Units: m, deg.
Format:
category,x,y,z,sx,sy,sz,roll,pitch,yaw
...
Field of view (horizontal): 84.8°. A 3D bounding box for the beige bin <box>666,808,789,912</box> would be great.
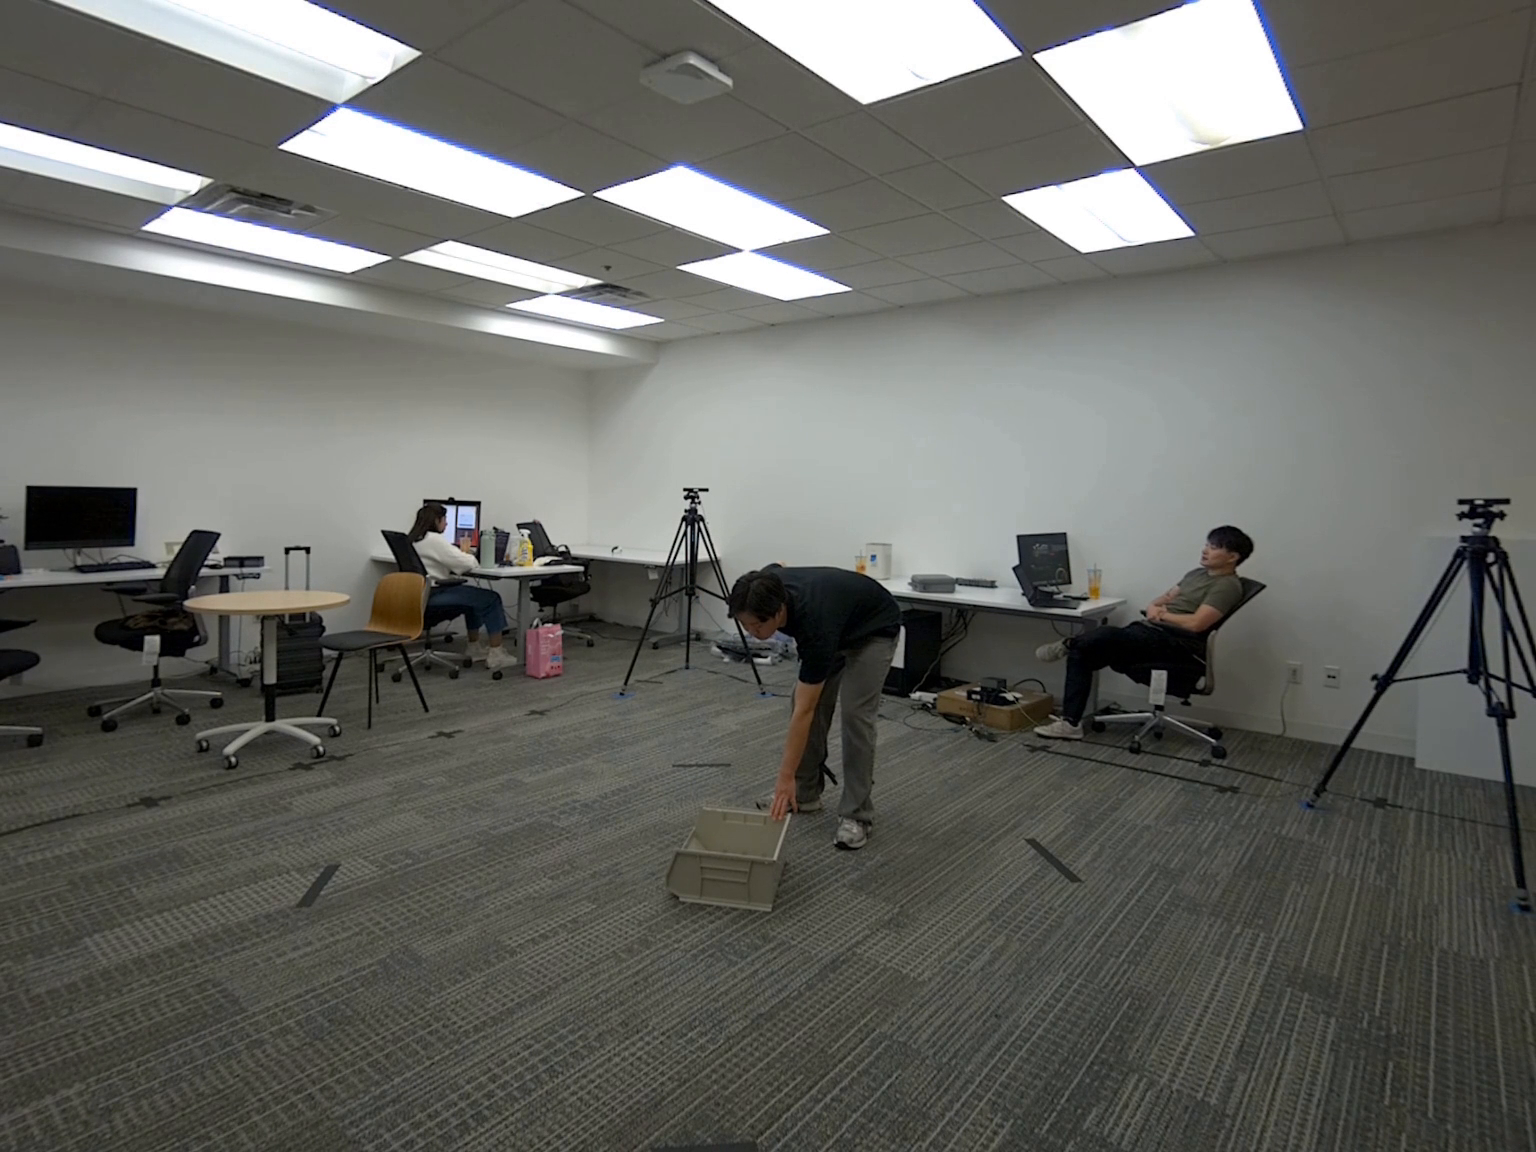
category,x,y,z,sx,sy,sz,roll,pitch,yaw
beige bin,-0.141,0.991,3.026,0.382,0.188,0.419,3,4,9
